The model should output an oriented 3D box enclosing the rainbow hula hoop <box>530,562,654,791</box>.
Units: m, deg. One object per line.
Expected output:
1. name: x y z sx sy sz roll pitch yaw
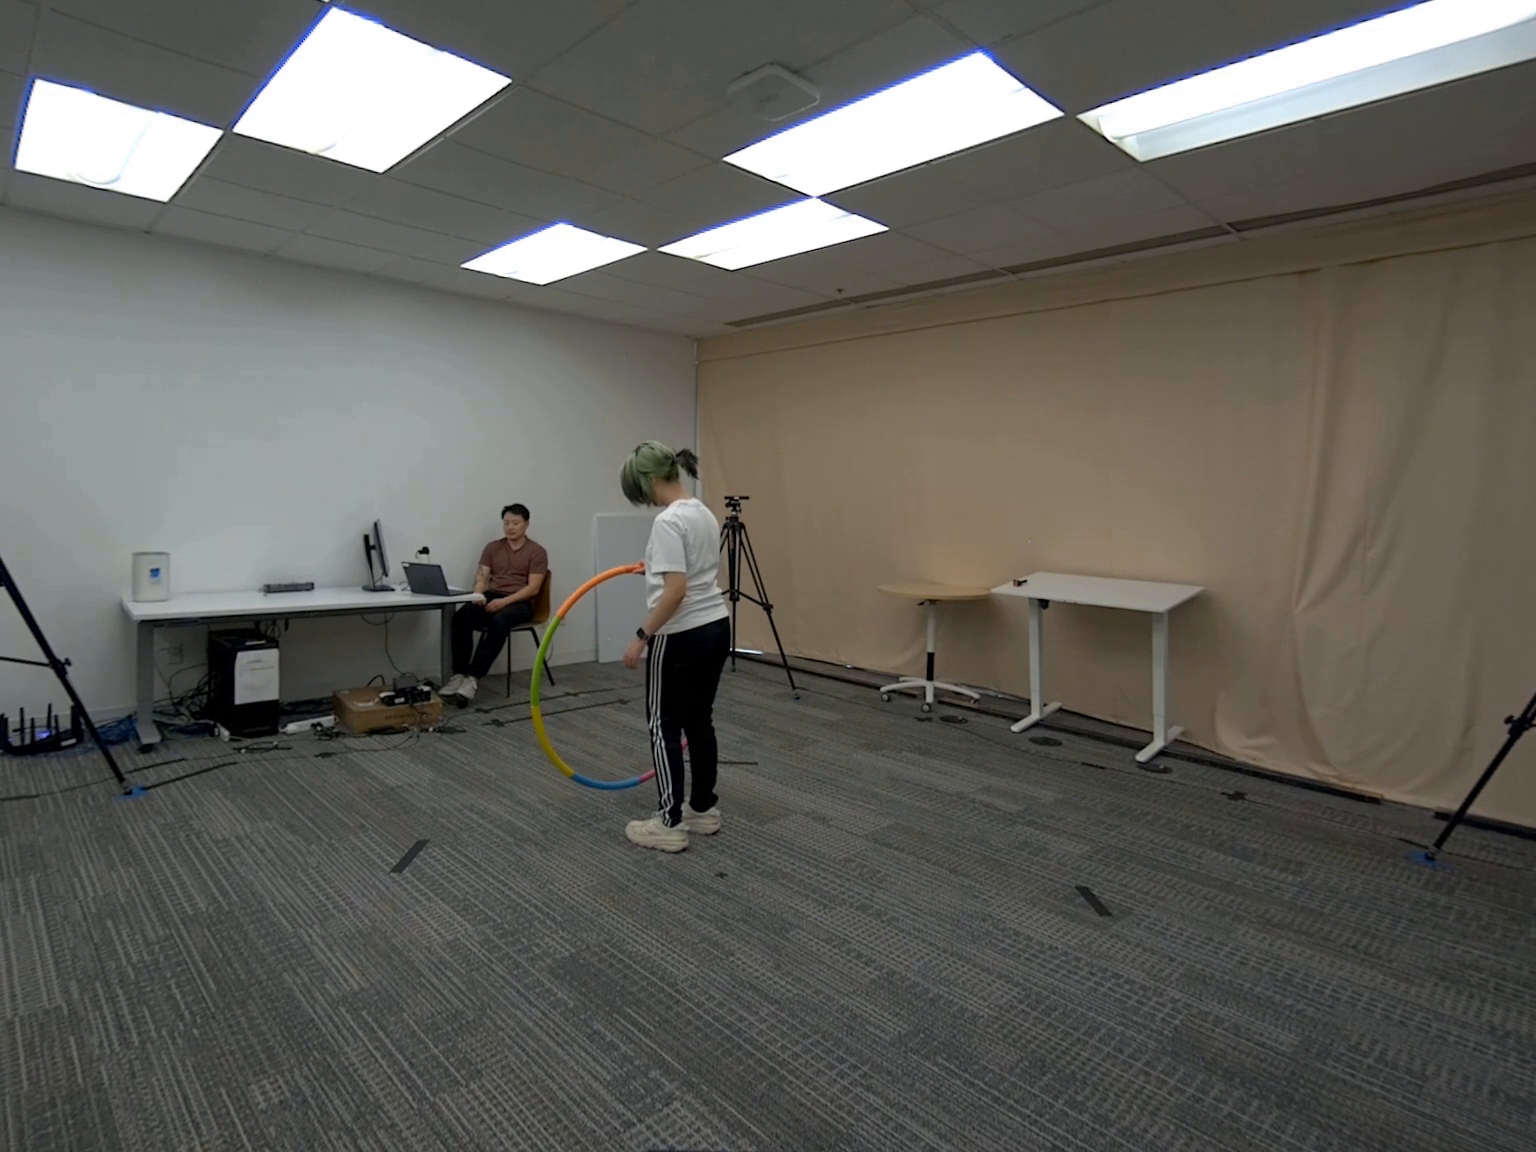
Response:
1. rainbow hula hoop: -0.610 0.449 3.726 0.956 0.975 0.036 -2 7 -40
